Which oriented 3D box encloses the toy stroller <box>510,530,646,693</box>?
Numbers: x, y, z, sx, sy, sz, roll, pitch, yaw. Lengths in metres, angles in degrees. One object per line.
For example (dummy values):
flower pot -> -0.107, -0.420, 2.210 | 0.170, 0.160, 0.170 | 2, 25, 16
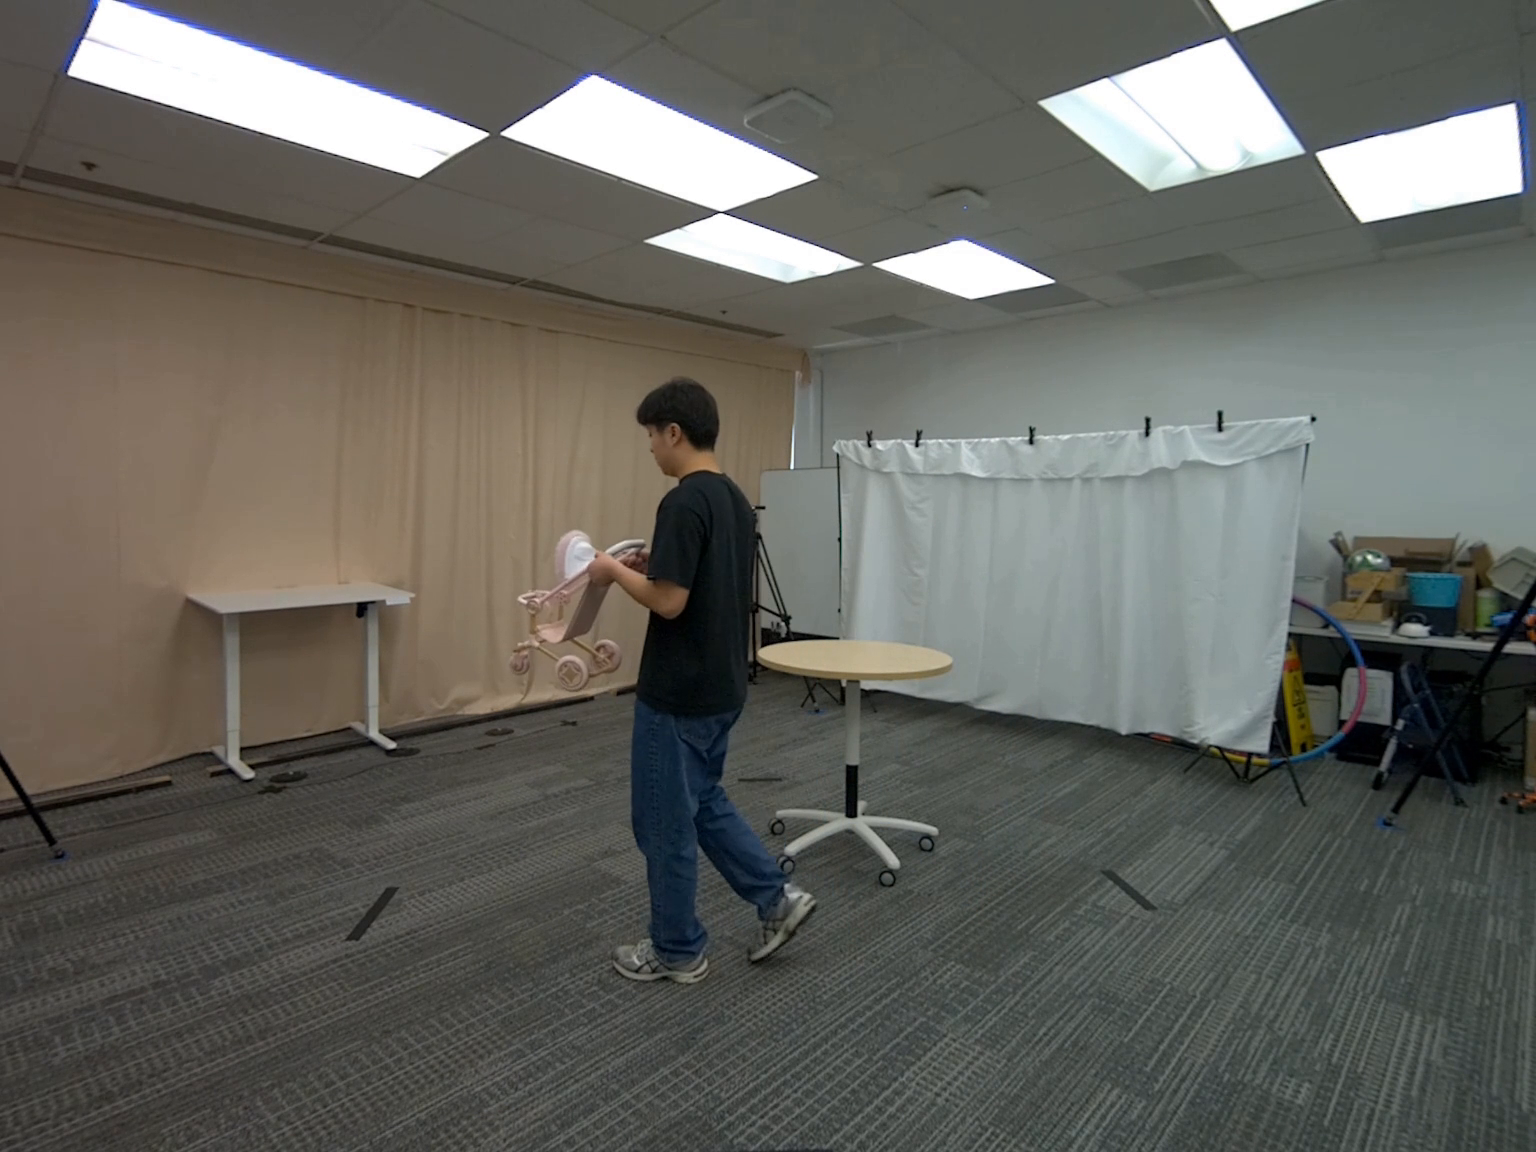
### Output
toy stroller -> -0.607, 0.102, 2.626 | 0.349, 0.533, 0.276 | 18, 9, 17
